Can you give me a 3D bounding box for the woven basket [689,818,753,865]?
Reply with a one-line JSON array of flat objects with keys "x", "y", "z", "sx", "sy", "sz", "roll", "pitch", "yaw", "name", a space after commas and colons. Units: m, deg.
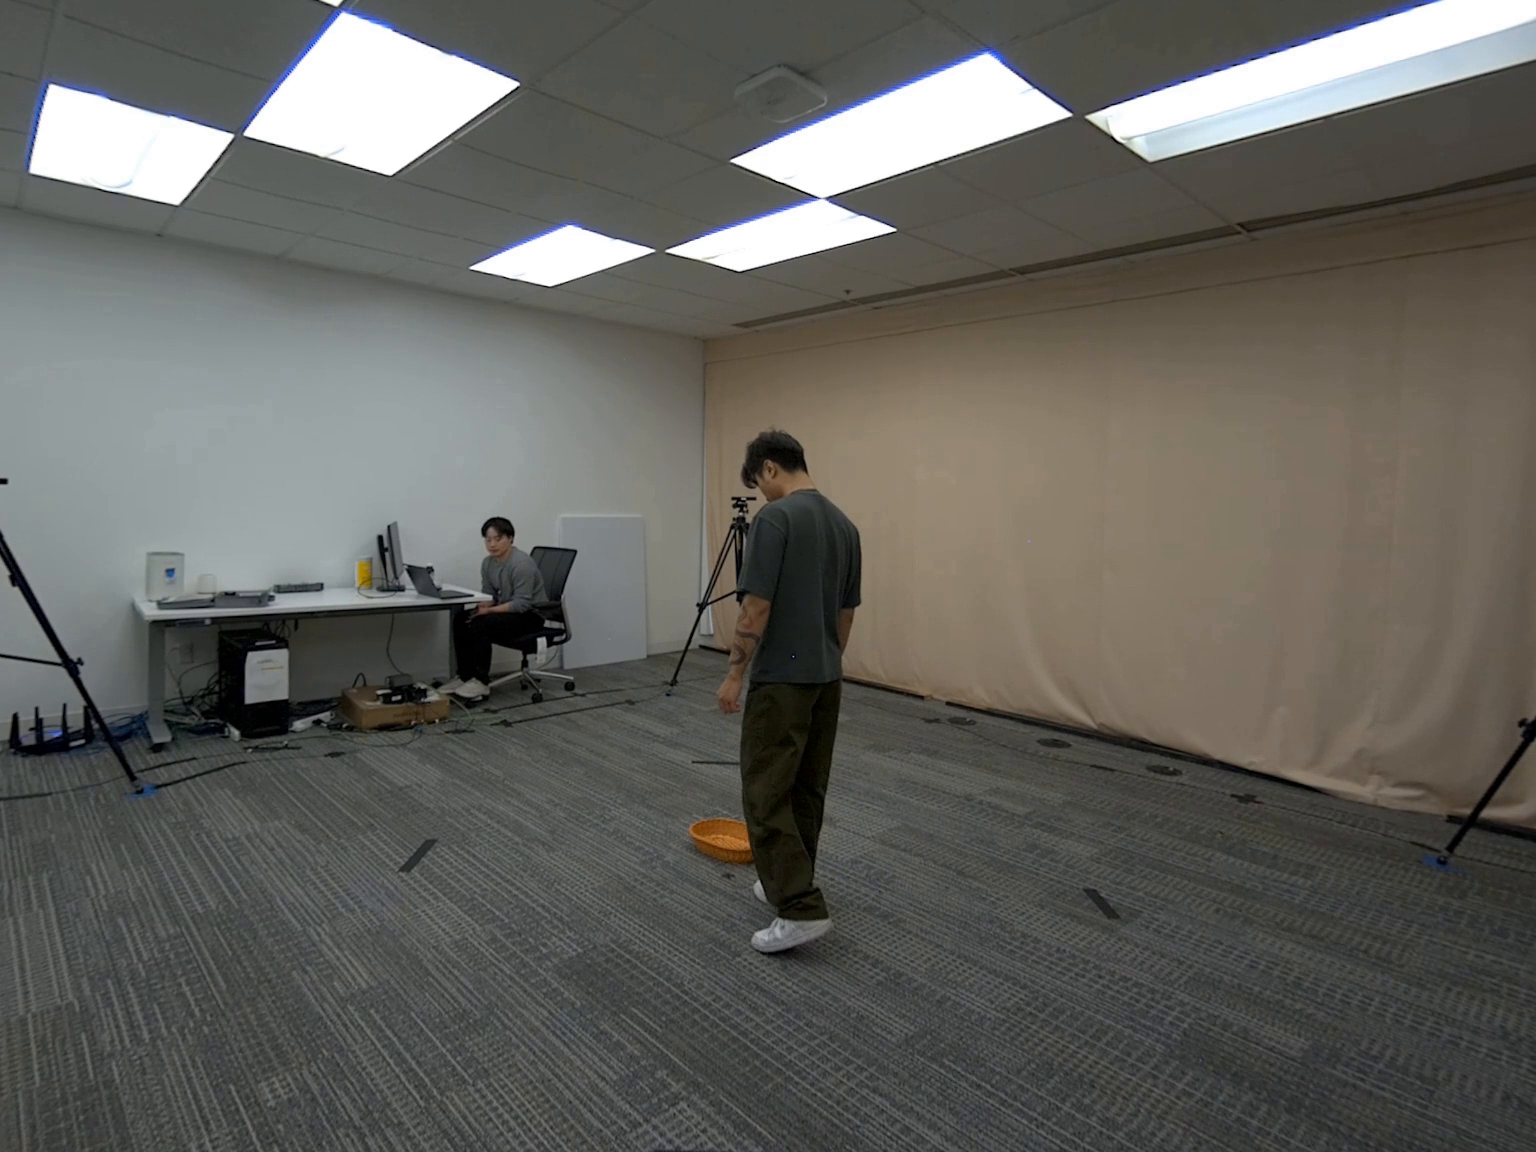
[{"x": -0.161, "y": 1.047, "z": 3.330, "sx": 0.359, "sy": 0.073, "sz": 0.247, "roll": 6, "pitch": 7, "yaw": 41, "name": "woven basket"}]
